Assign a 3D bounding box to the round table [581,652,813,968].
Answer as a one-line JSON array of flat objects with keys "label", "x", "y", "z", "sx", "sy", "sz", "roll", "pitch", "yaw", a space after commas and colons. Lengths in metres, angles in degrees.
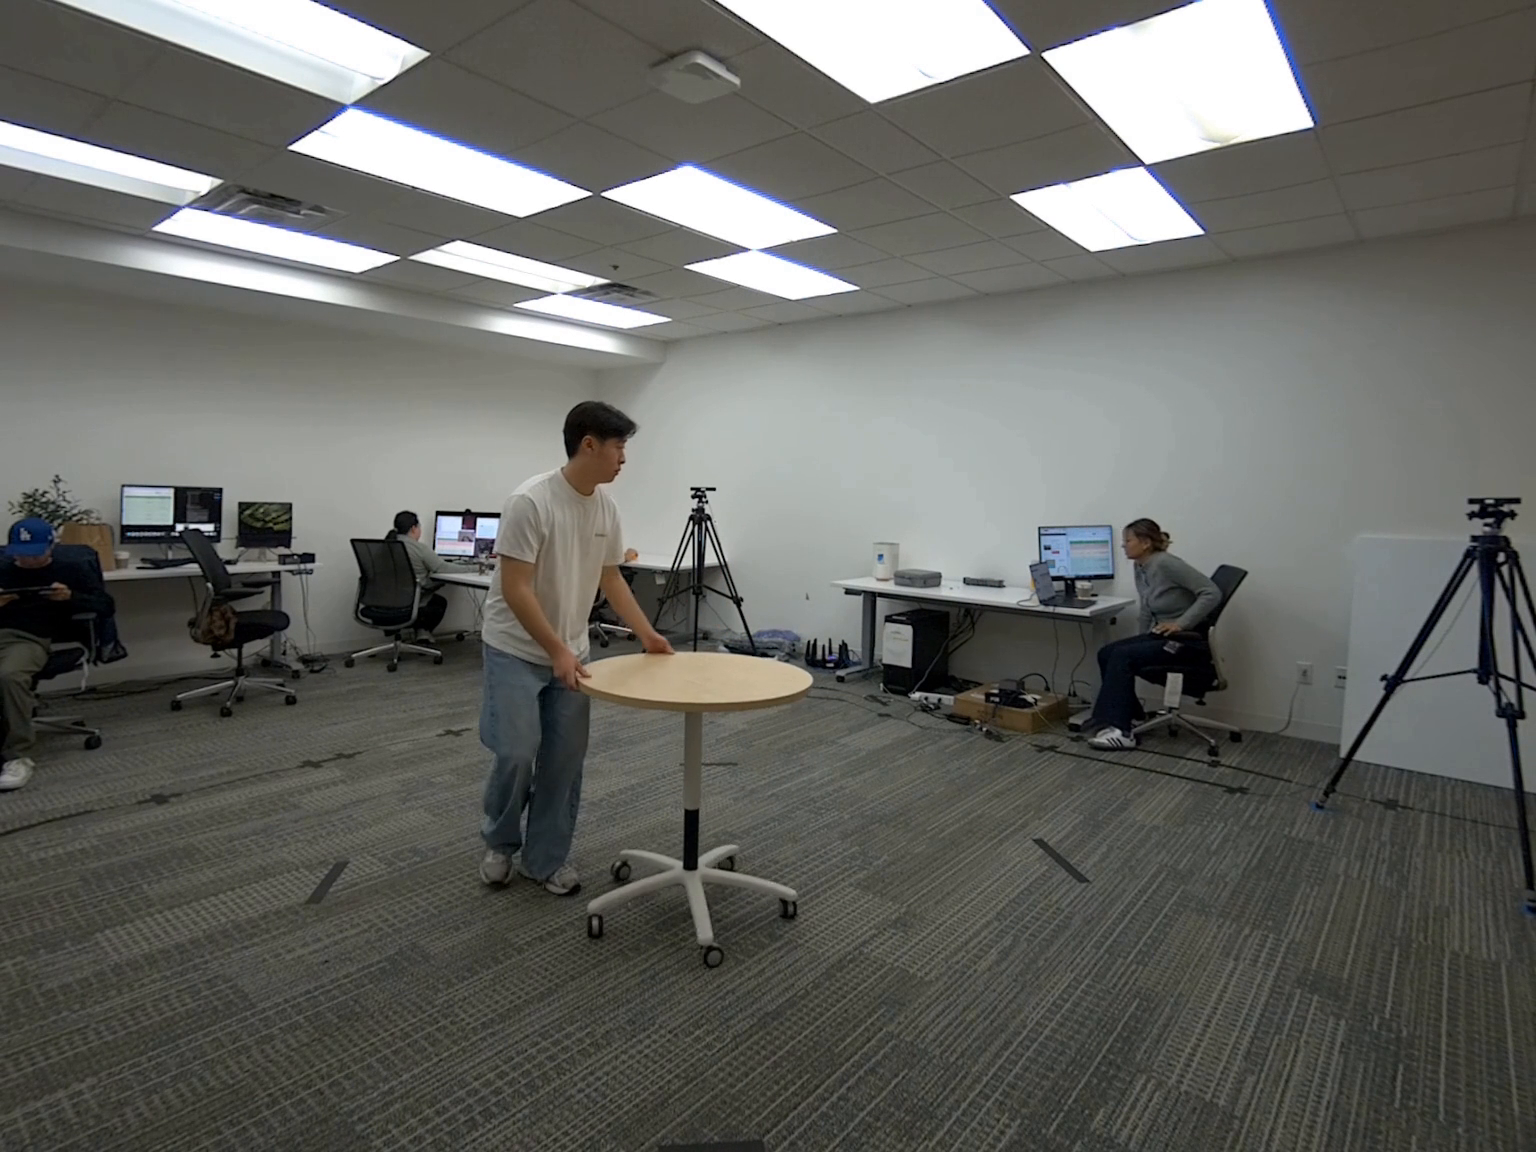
[{"label": "round table", "x": -0.239, "y": 0.705, "z": 2.774, "sx": 0.784, "sy": 0.784, "sz": 0.789, "roll": 1, "pitch": 4, "yaw": -2}]
